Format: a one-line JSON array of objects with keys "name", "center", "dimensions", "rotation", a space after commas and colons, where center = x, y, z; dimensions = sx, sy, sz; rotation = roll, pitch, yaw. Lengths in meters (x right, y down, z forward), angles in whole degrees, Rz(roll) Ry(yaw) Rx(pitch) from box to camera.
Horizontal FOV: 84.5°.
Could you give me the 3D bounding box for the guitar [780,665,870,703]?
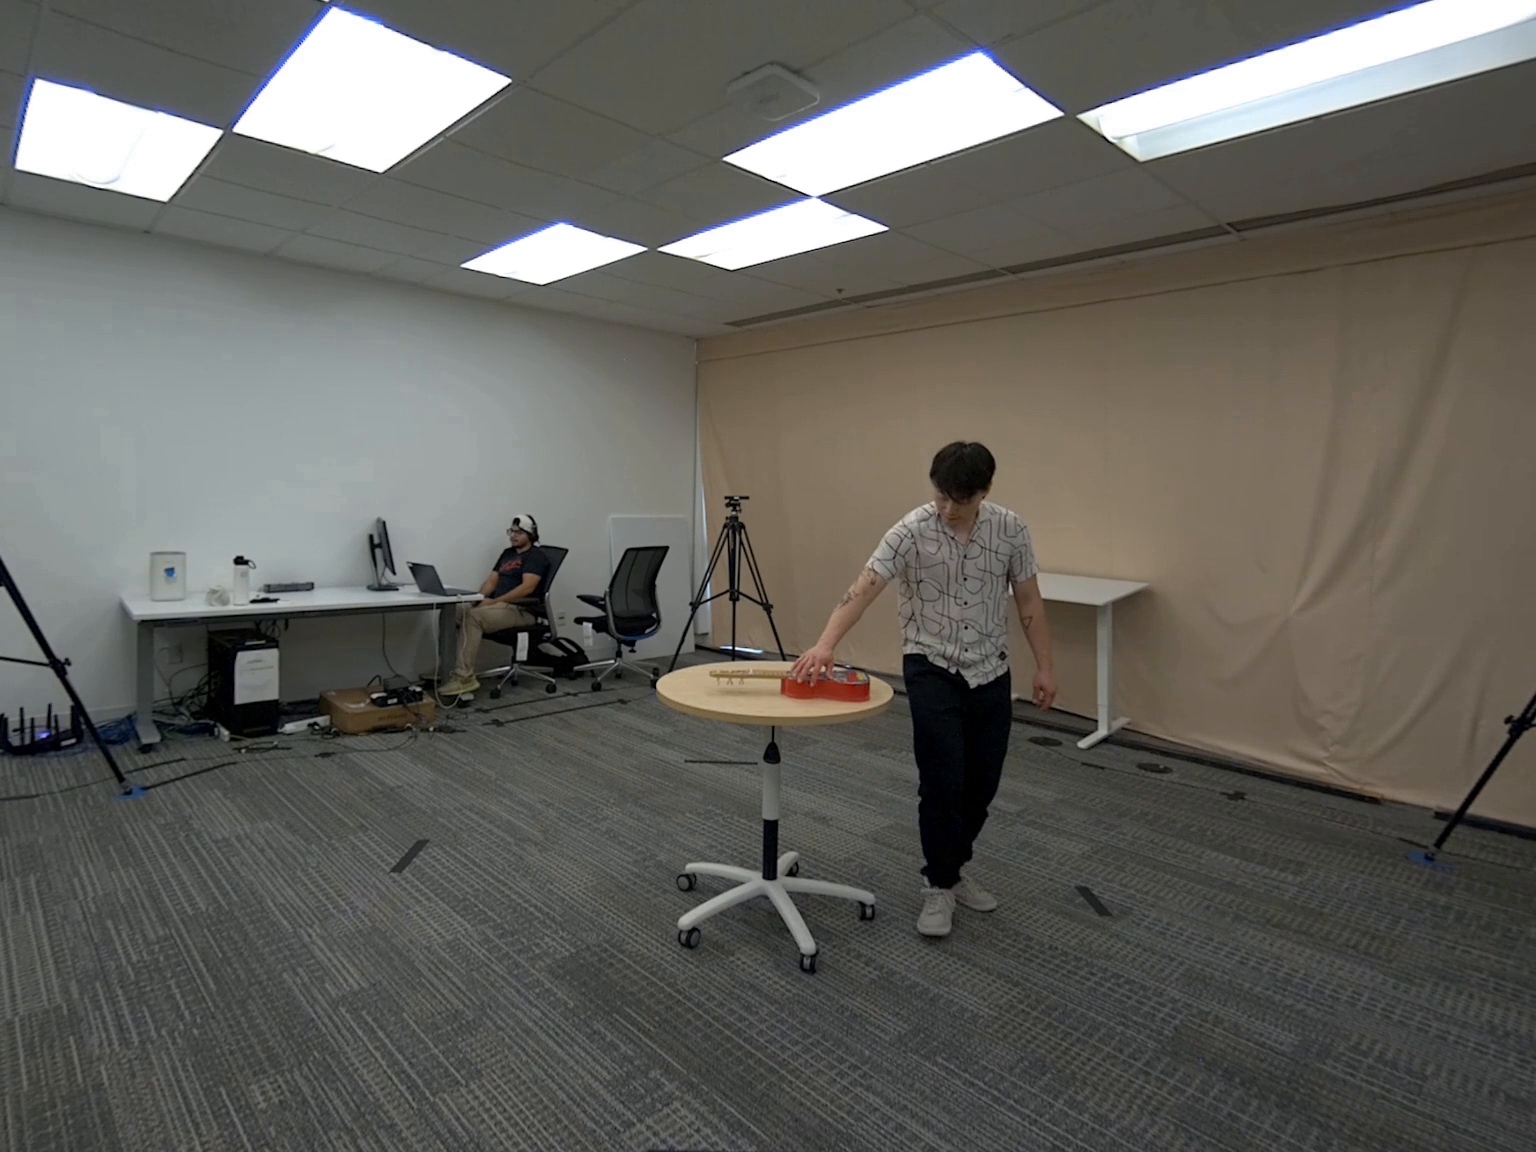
[{"name": "guitar", "center": [0.068, 0.335, 2.652], "dimensions": [0.502, 0.070, 0.192], "rotation": [2, 7, 10]}]
